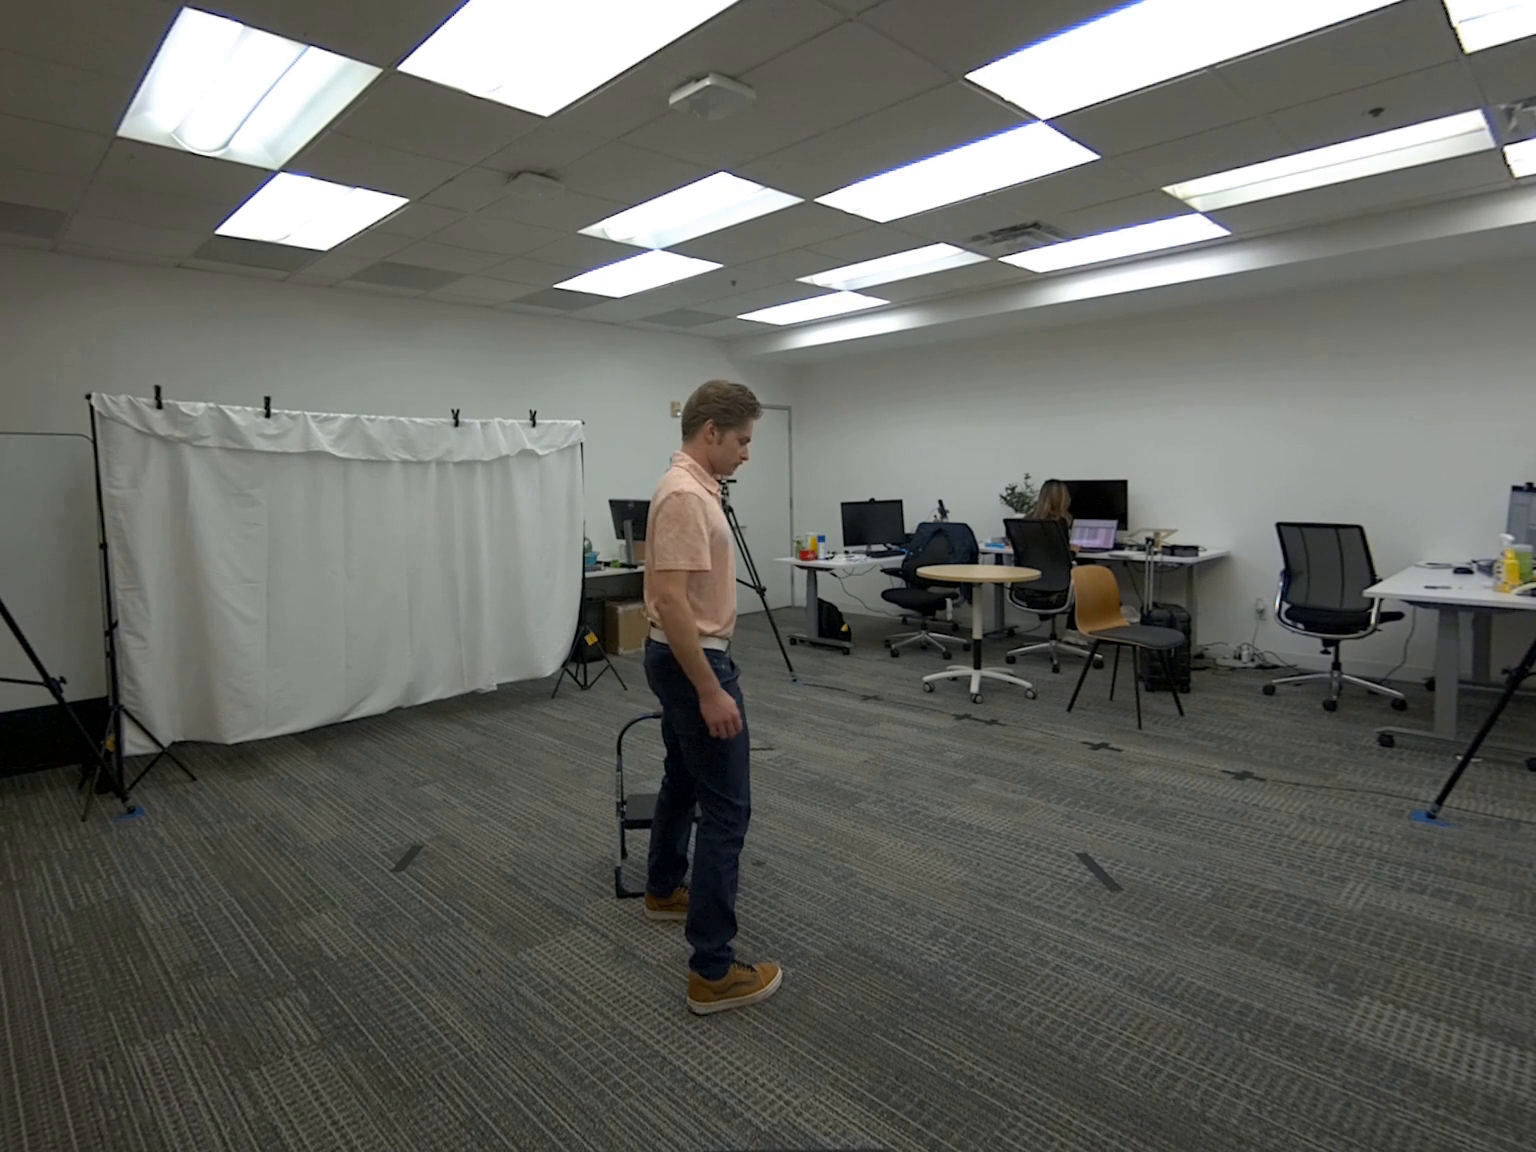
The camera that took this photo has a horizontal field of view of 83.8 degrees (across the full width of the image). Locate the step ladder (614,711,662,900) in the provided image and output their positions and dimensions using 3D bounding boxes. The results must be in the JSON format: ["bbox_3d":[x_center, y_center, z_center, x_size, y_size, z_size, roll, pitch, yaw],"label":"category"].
[{"bbox_3d":[-0.329,0.765,3.022,0.429,0.604,0.352,-2,4,-5],"label":"step ladder"}]
